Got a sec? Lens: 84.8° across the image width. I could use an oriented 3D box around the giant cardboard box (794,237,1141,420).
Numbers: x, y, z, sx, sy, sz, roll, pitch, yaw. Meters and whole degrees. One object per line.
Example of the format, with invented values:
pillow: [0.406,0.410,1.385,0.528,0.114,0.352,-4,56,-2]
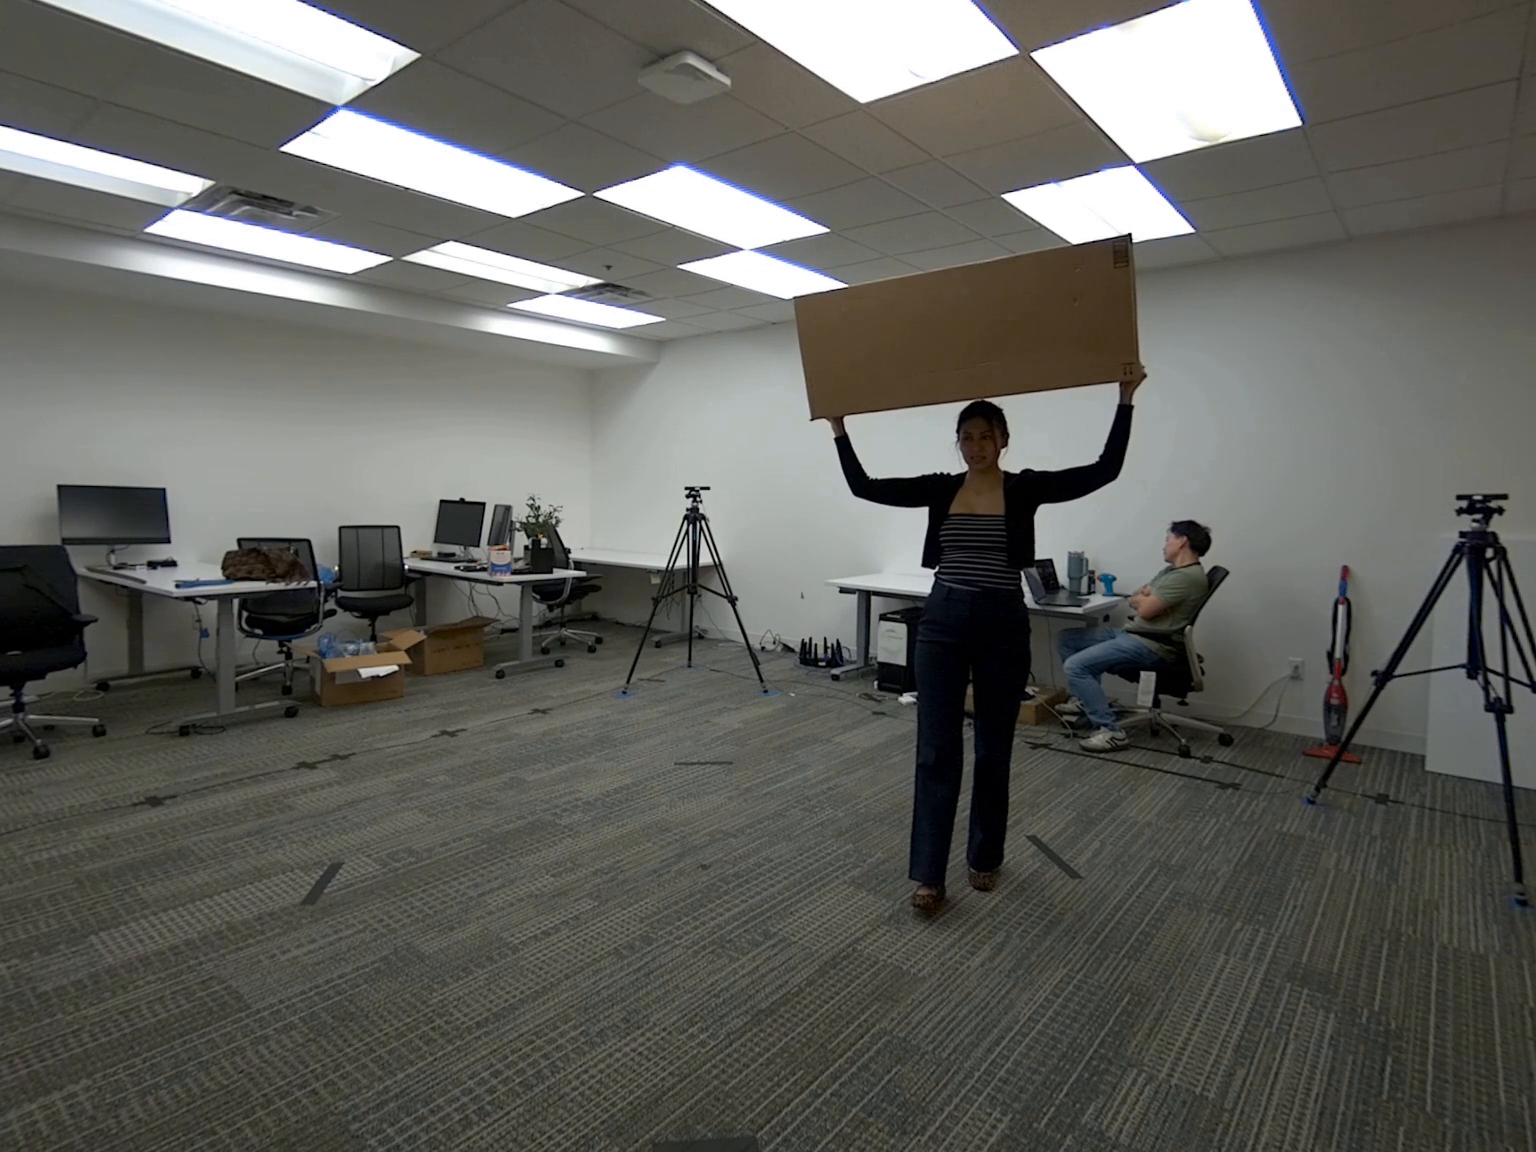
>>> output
giant cardboard box: [0.675,-0.834,2.921,1.049,0.420,0.573,-3,16,24]
